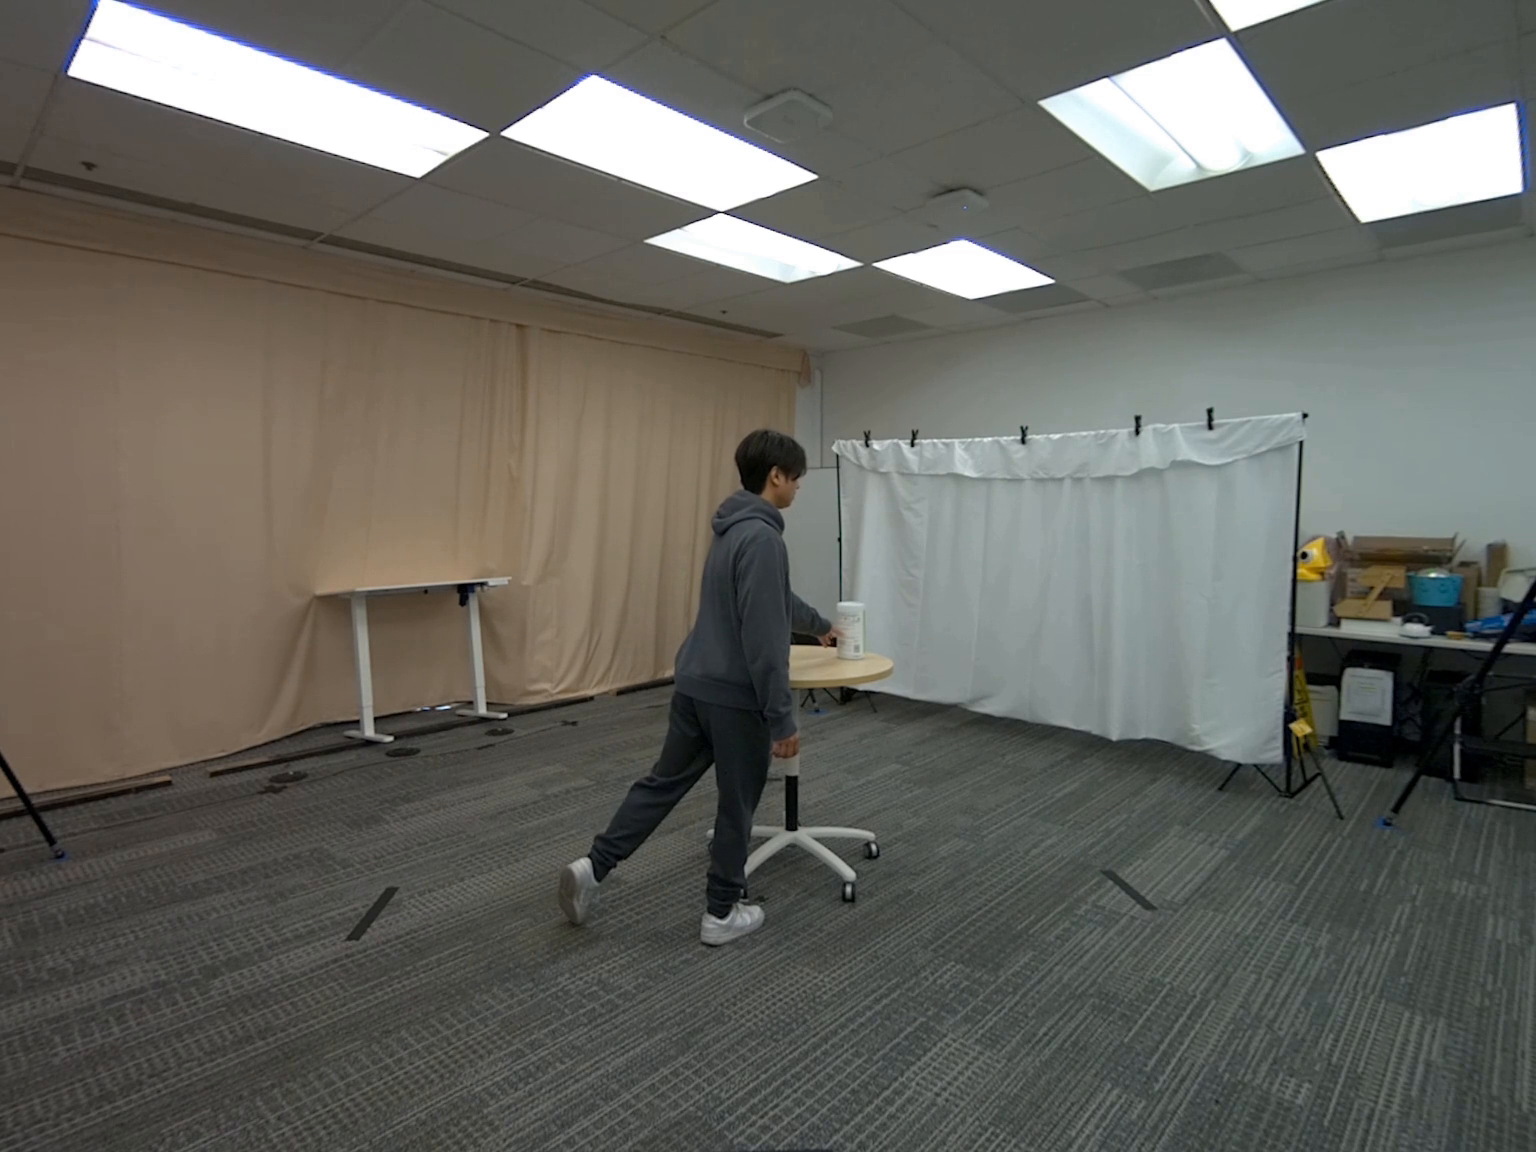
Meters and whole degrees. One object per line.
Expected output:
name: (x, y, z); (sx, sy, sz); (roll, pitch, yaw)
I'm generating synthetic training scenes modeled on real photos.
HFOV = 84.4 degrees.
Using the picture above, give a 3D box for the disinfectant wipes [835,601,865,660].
disinfectant wipes: (0.325, 0.213, 3.290); (0.118, 0.217, 0.118); (1, 1, -2)
